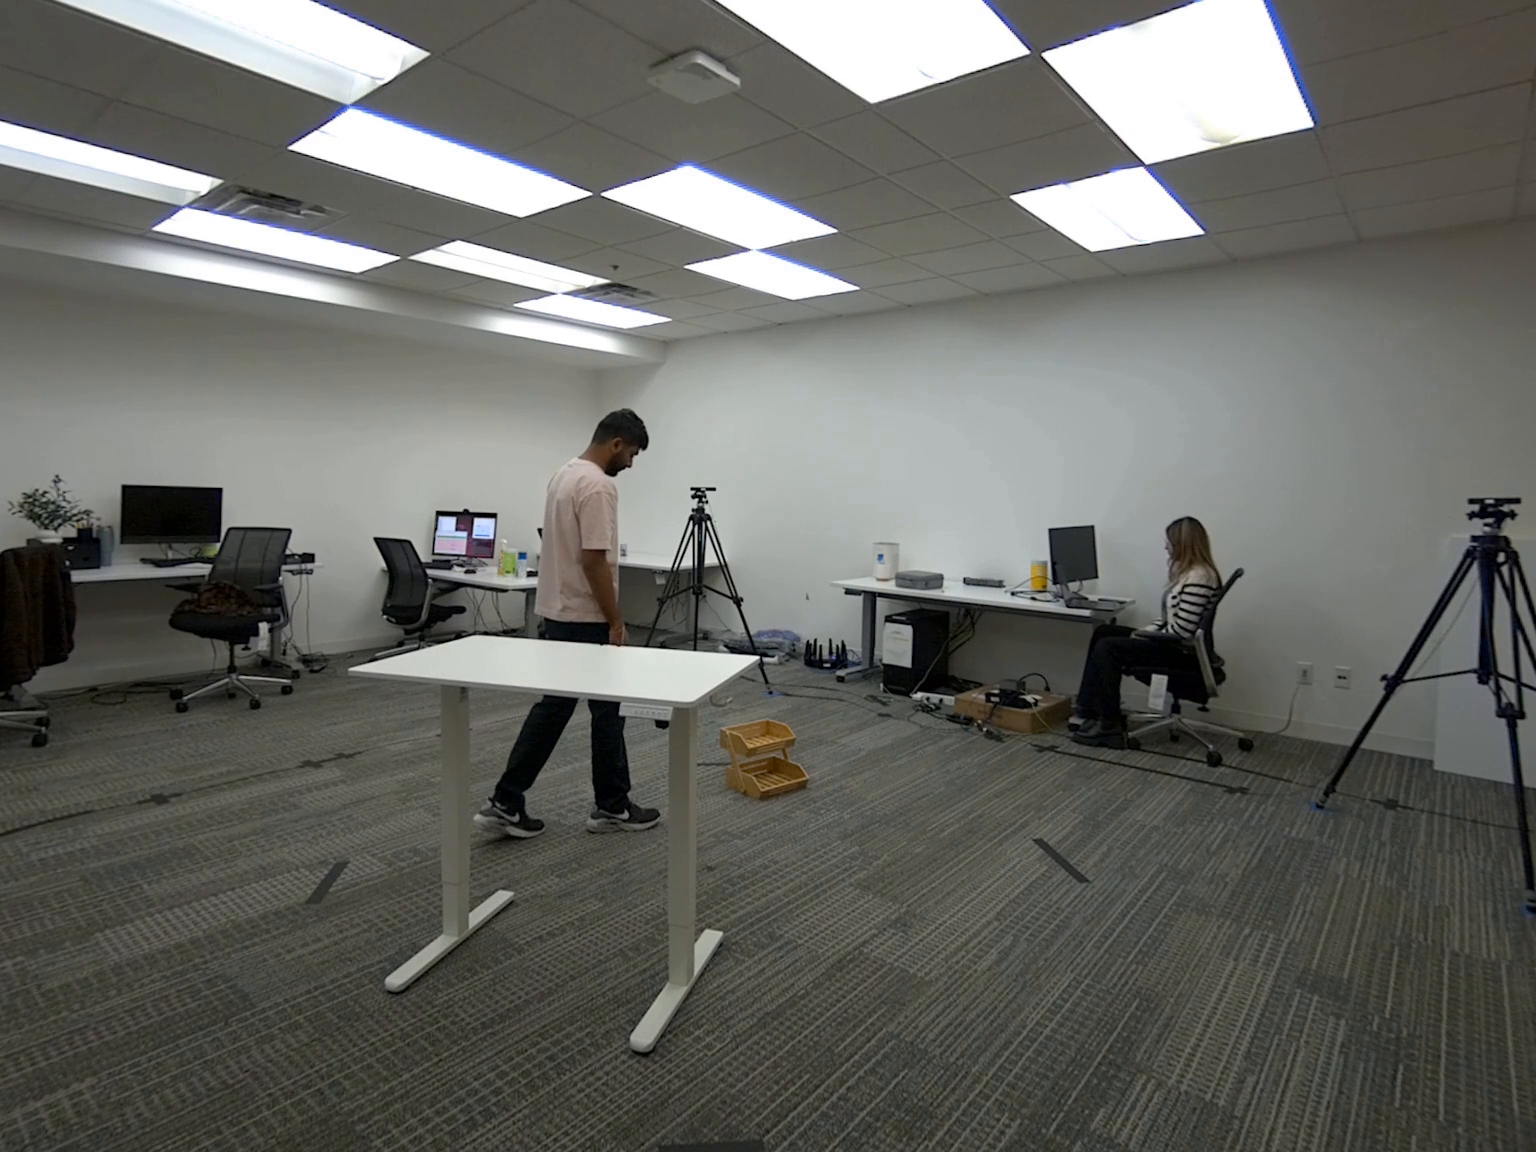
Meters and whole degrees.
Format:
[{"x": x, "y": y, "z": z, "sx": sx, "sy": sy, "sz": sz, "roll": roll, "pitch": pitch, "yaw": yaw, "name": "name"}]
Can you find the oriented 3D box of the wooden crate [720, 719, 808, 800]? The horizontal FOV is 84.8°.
[{"x": -0.025, "y": 0.848, "z": 4.004, "sx": 0.315, "sy": 0.272, "sz": 0.312, "roll": -3, "pitch": 6, "yaw": -41, "name": "wooden crate"}]
